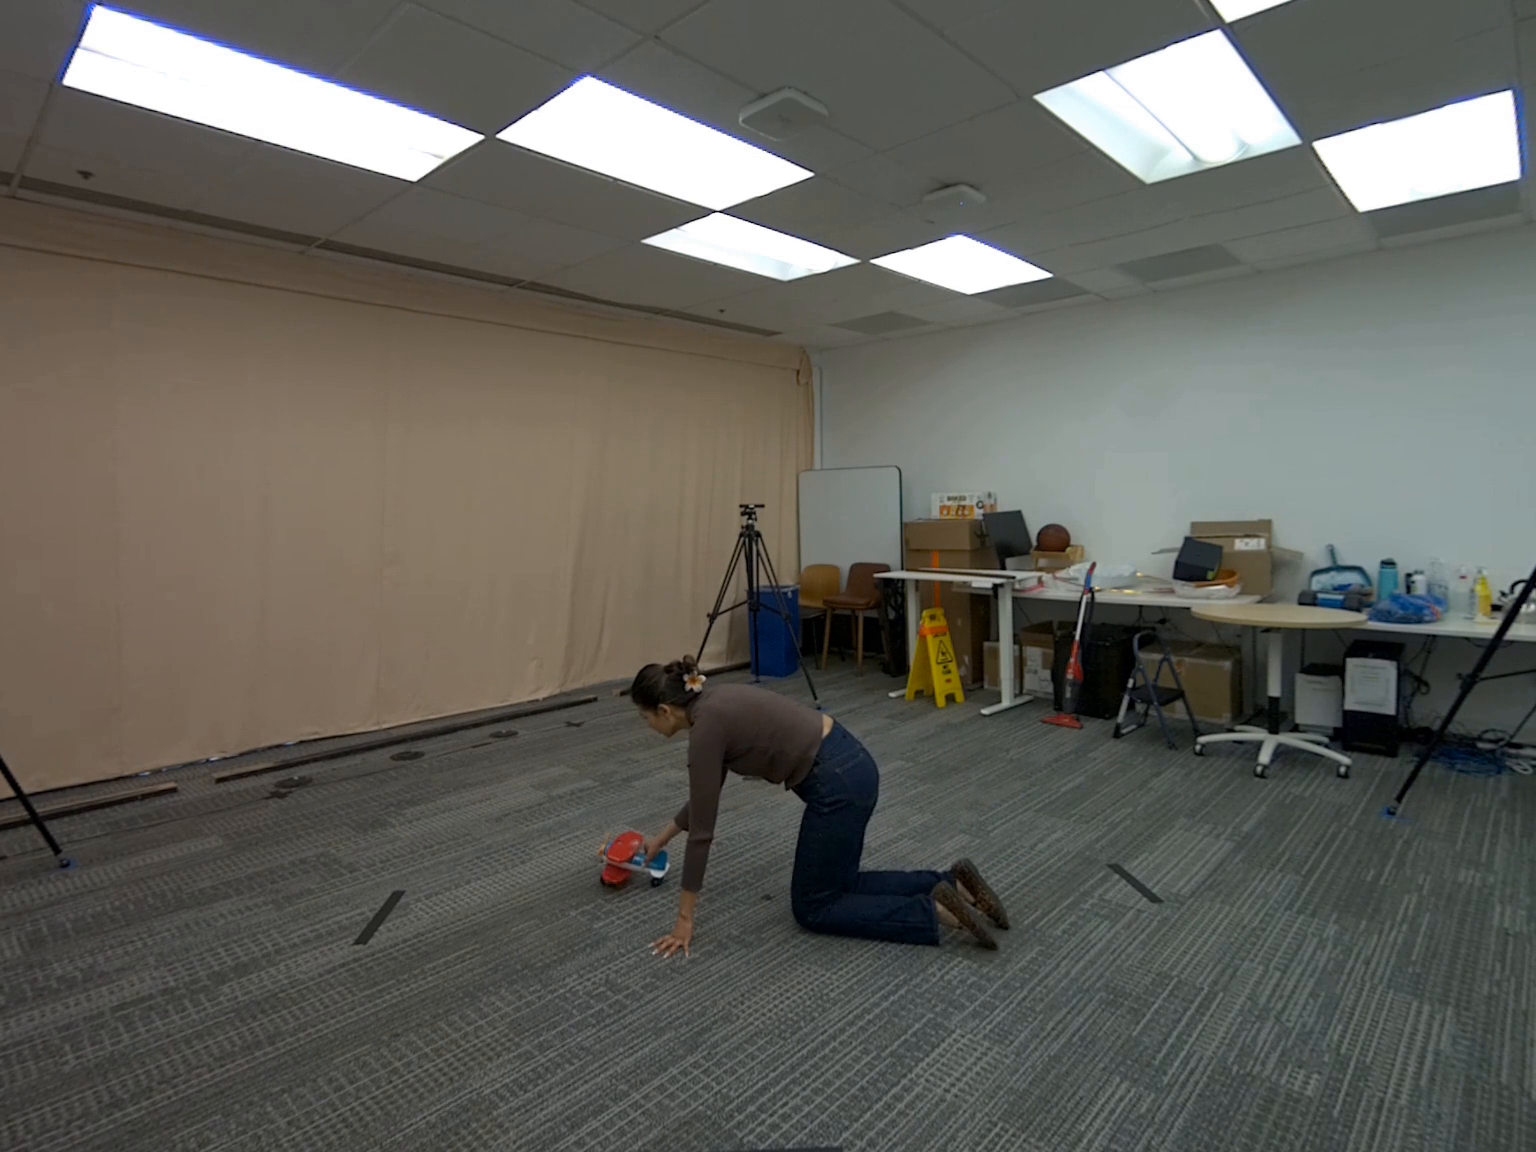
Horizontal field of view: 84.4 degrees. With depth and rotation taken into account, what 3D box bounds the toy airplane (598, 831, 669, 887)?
[{"bbox_3d":[-0.499,1.065,3.143,0.255,0.156,0.256,-3,4,-16],"label":"toy airplane"}]
